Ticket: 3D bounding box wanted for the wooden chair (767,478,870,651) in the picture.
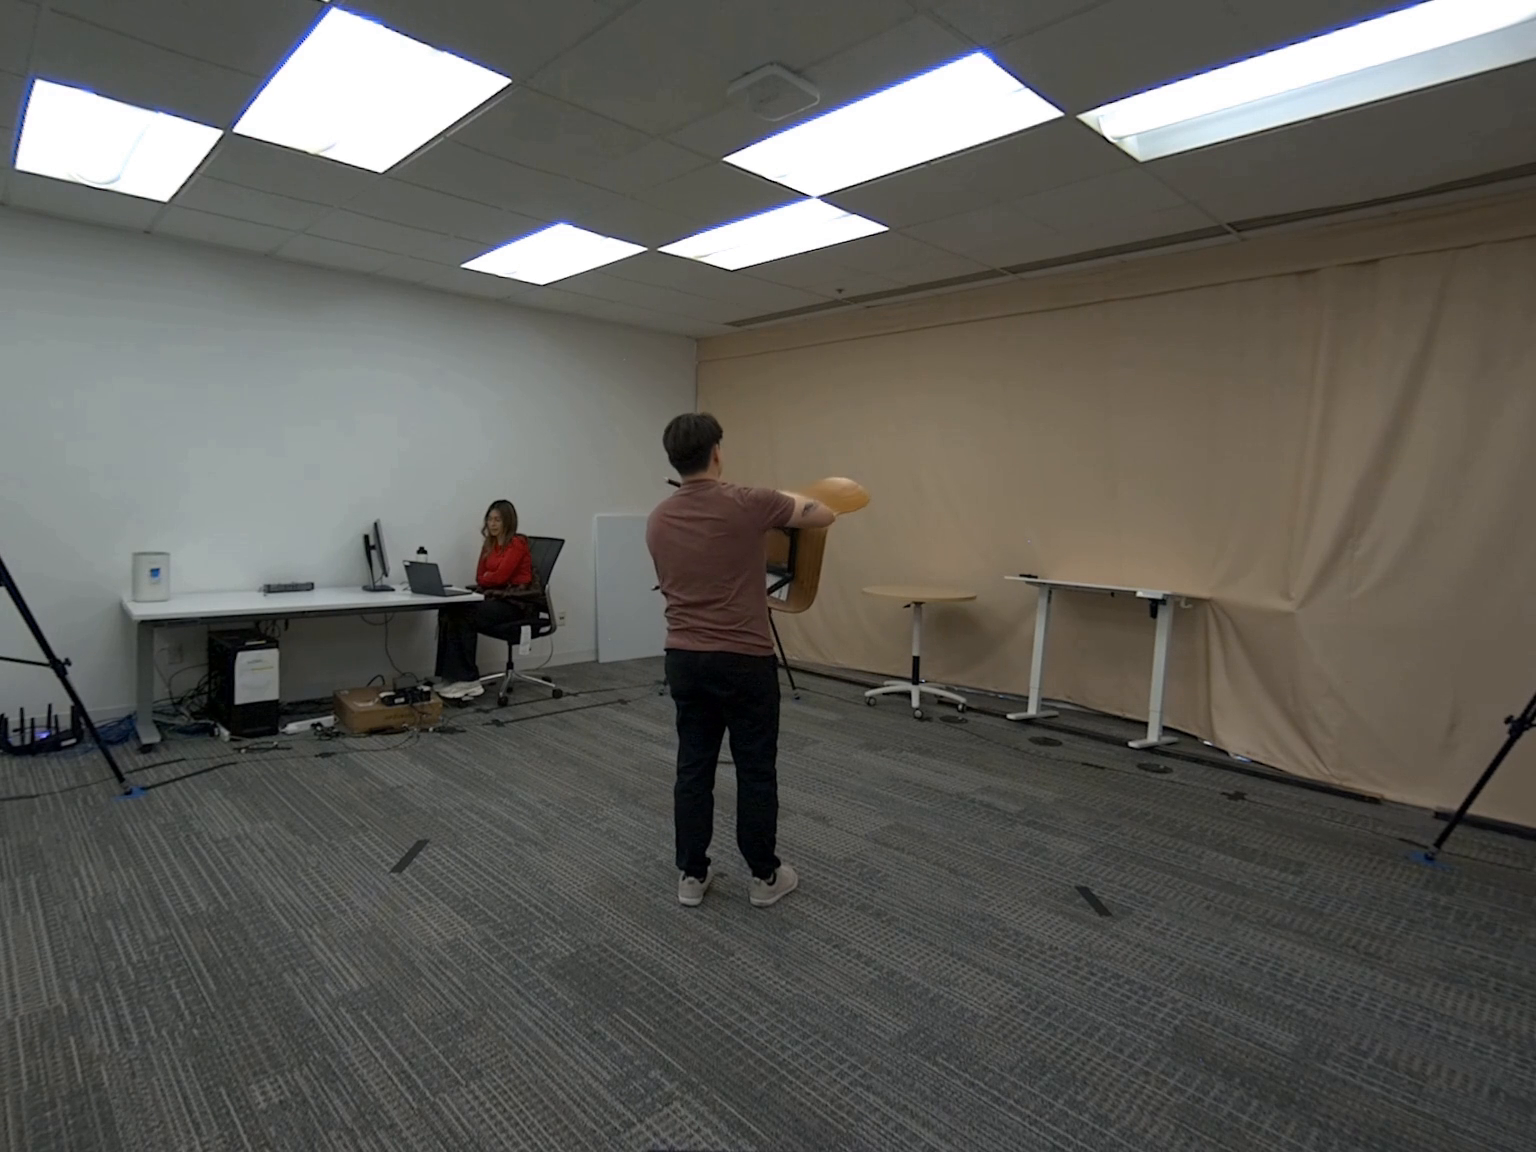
[{"bbox_3d":[0.013,-0.125,3.476,0.492,0.518,0.860,17,19,41],"label":"wooden chair"}]
